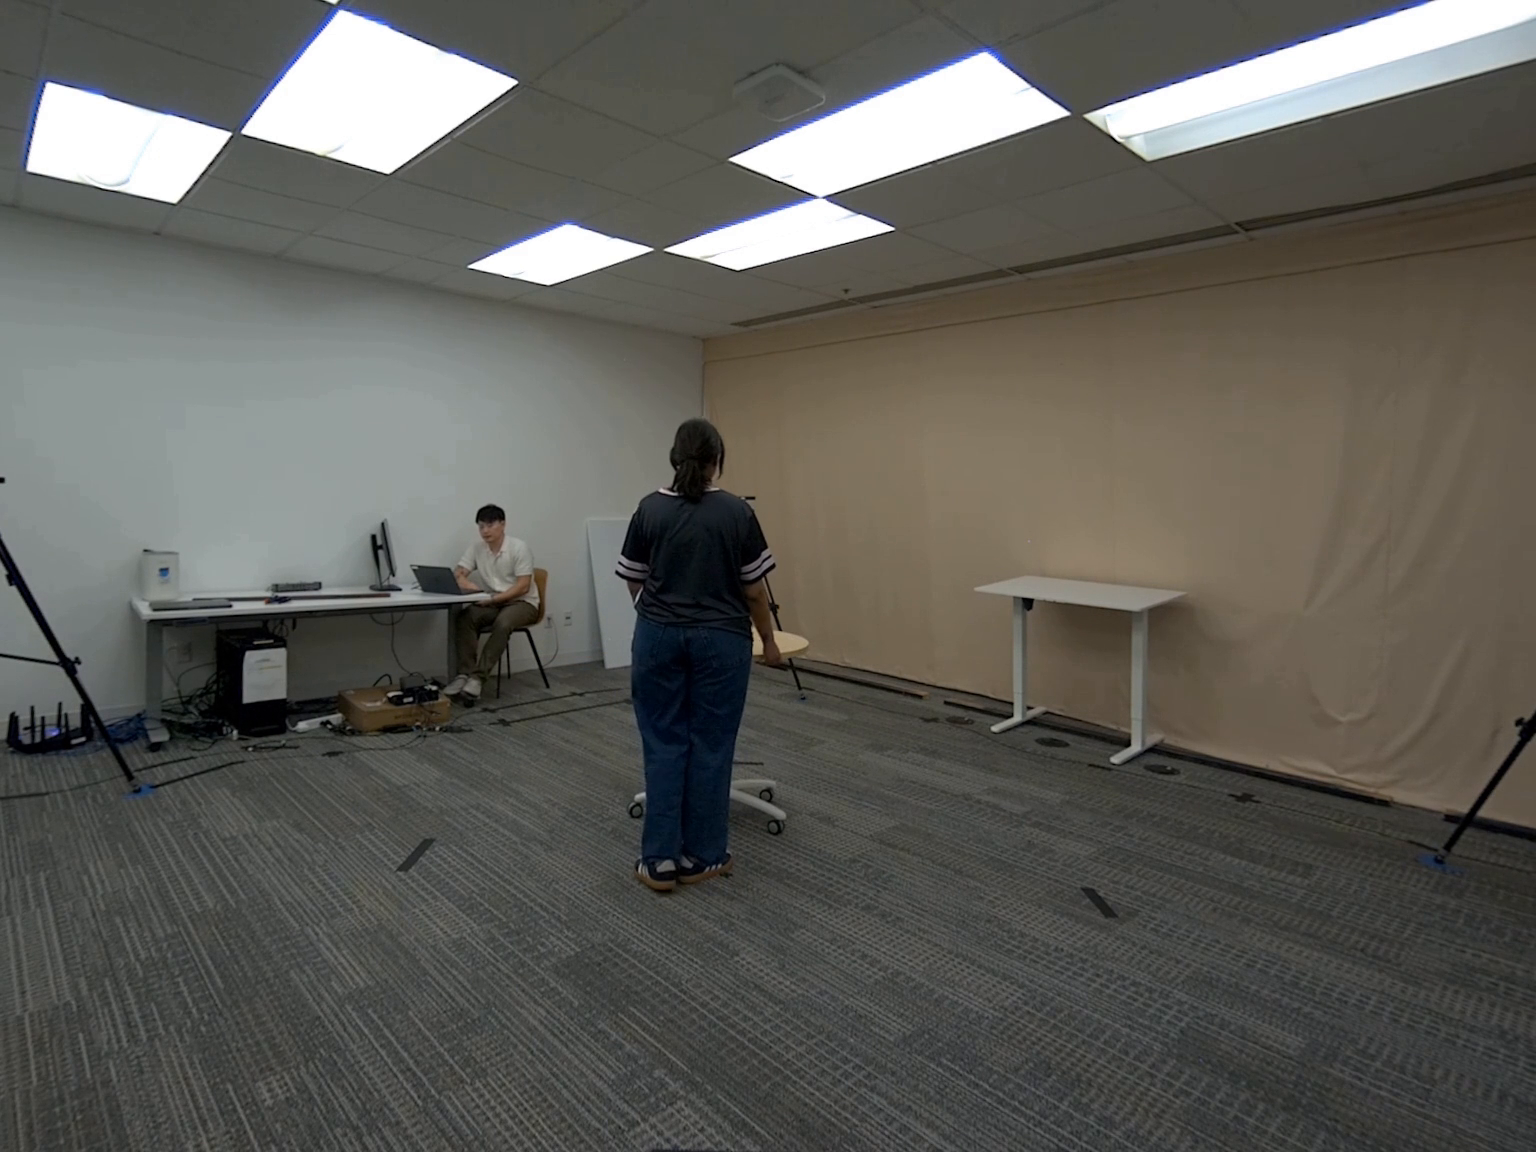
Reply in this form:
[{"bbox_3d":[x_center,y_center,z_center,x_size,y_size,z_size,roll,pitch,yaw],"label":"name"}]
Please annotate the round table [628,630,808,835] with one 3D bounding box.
[{"bbox_3d":[-0.235,0.665,3.656,0.784,0.785,0.787,2,3,-1],"label":"round table"}]
